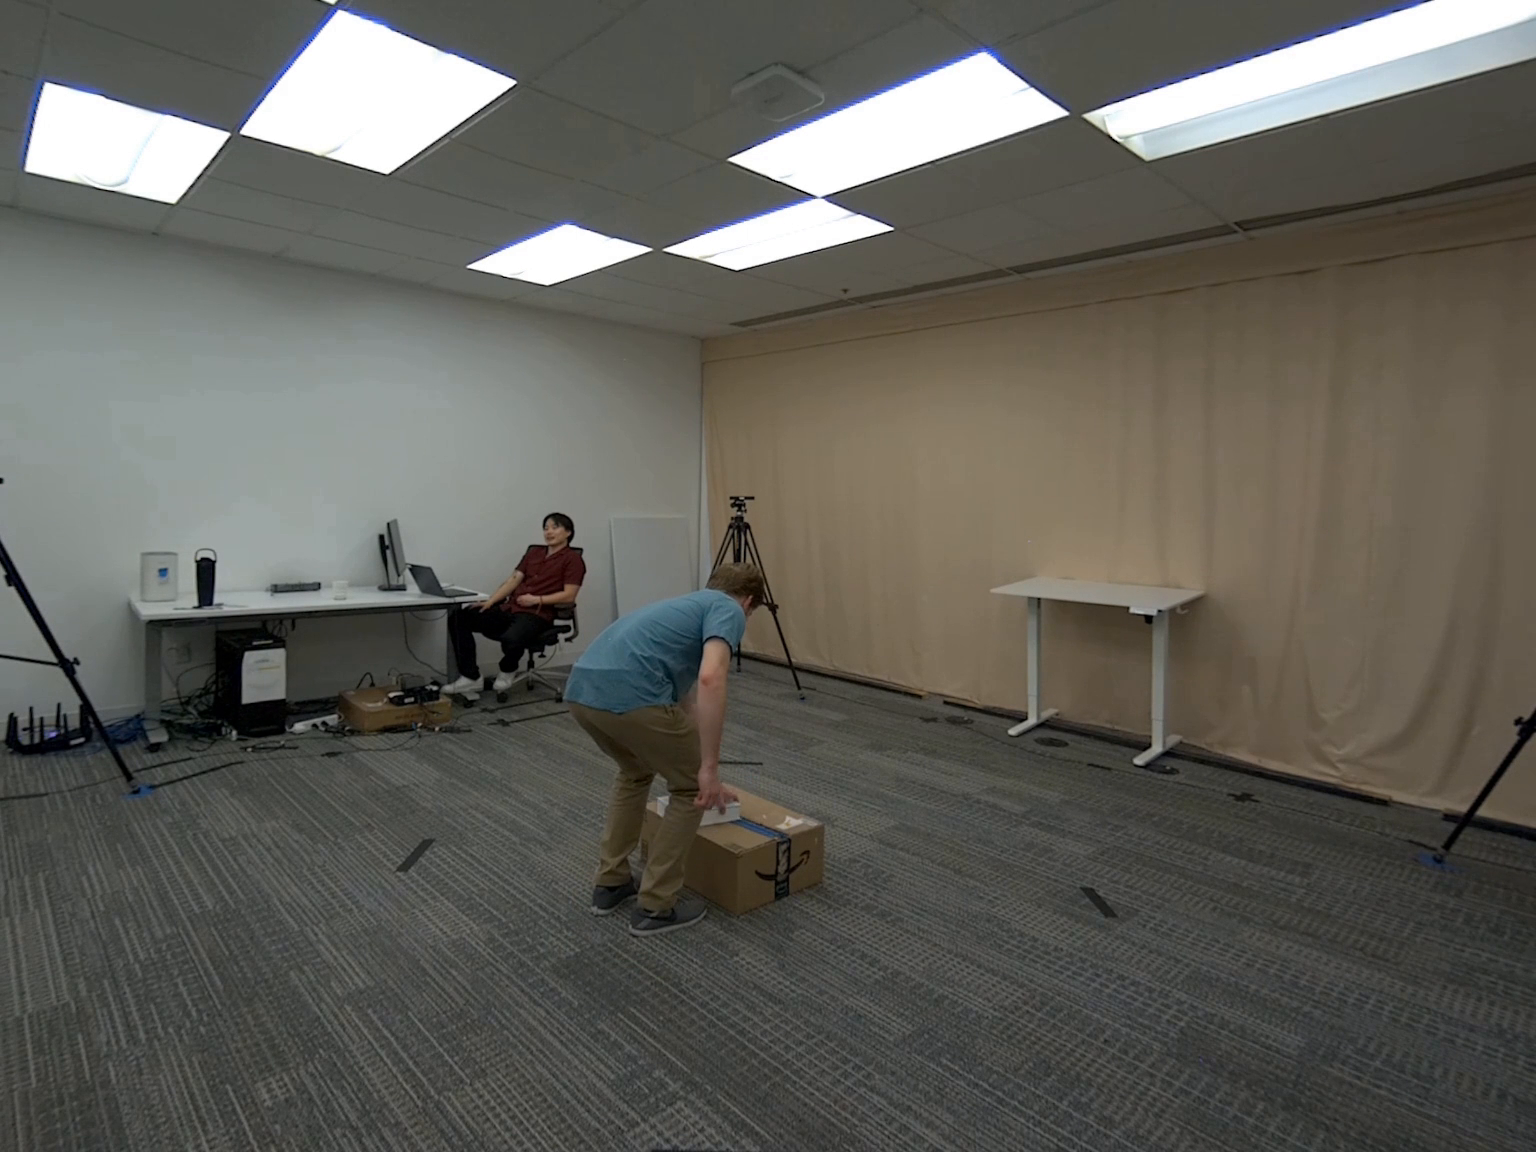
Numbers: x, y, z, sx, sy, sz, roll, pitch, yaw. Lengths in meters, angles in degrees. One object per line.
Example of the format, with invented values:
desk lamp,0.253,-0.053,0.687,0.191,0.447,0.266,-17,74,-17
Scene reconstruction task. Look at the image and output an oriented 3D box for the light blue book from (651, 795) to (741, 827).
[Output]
light blue book,-0.261,0.861,3.114,0.255,0.059,0.196,1,4,-31
